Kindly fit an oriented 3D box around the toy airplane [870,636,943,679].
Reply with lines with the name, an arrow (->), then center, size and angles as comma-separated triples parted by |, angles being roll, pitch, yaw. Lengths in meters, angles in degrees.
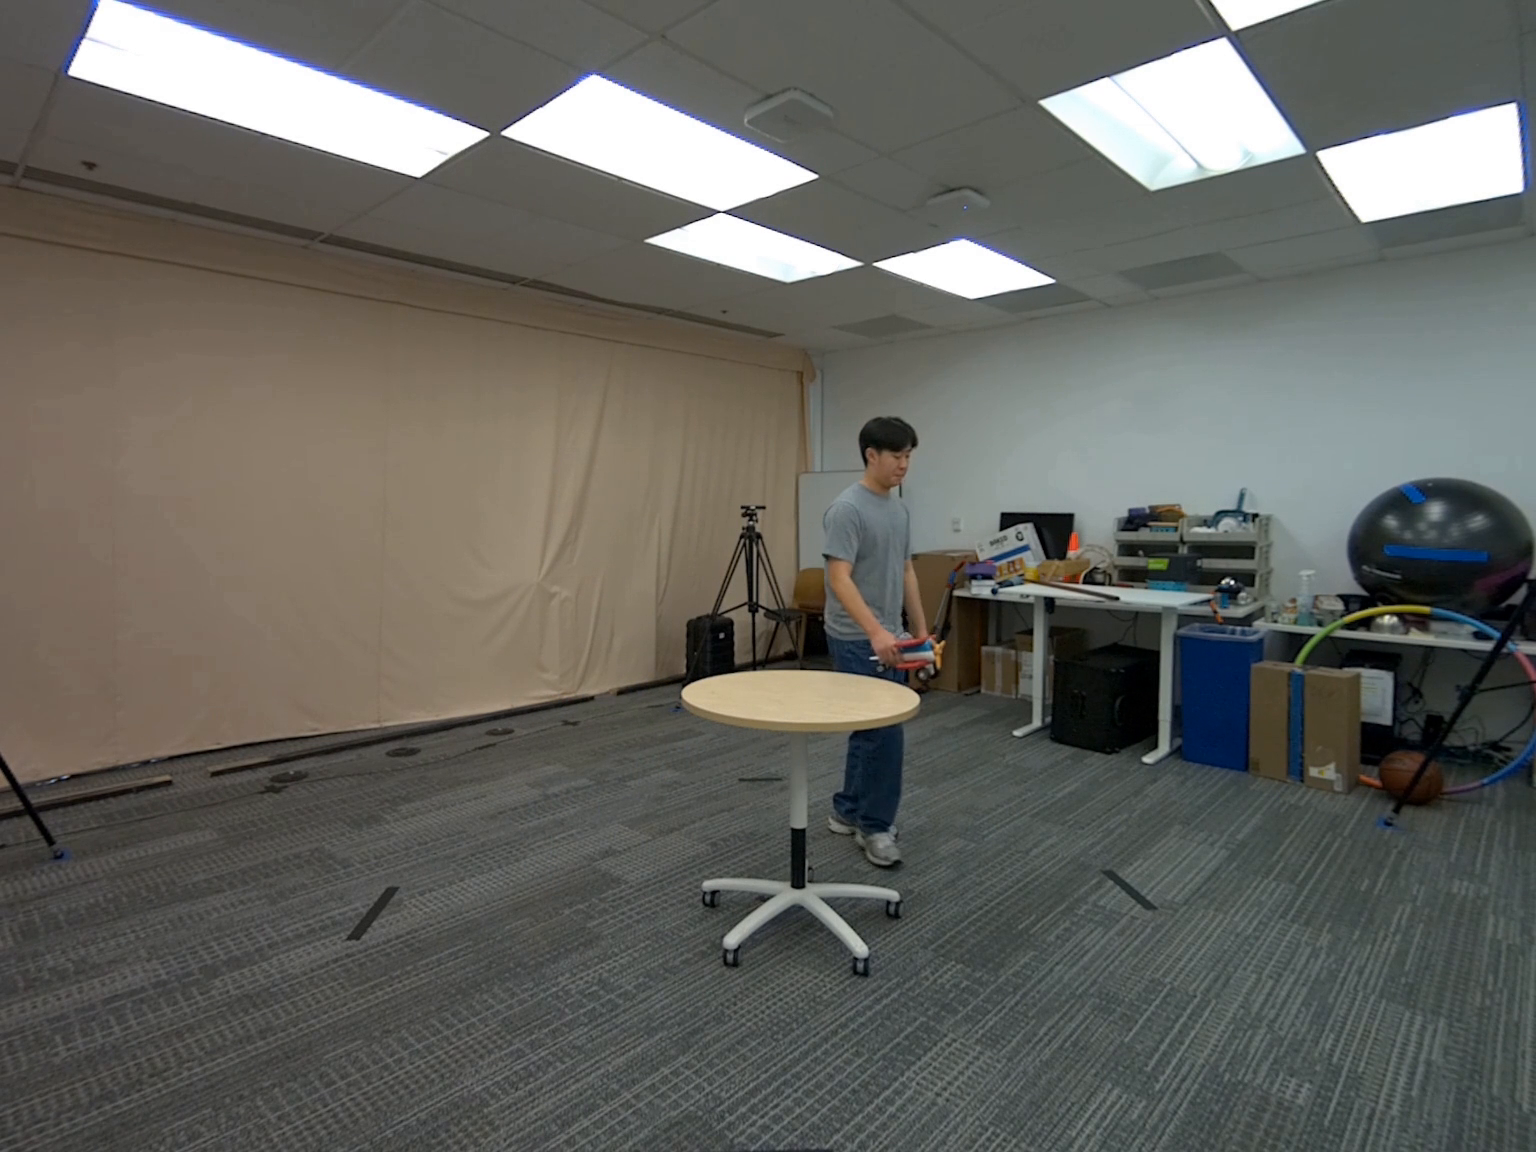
toy airplane -> 0.511, 0.294, 3.074 | 0.262, 0.156, 0.248 | 4, 4, 10
